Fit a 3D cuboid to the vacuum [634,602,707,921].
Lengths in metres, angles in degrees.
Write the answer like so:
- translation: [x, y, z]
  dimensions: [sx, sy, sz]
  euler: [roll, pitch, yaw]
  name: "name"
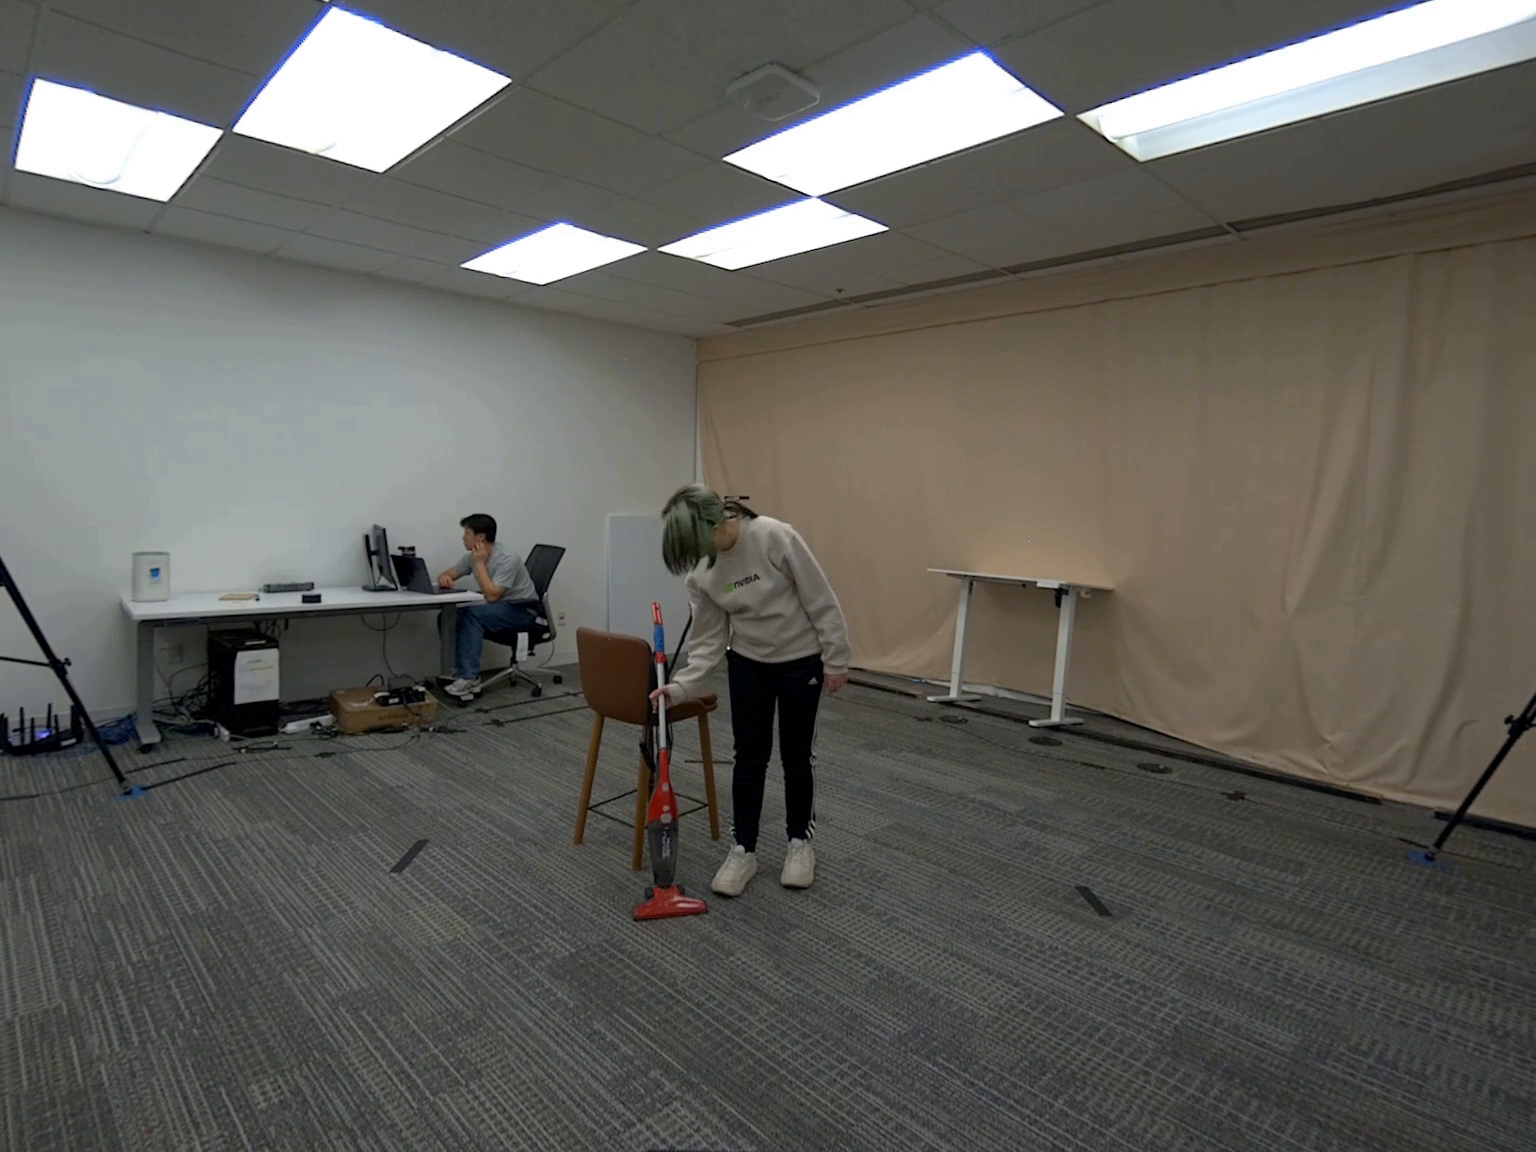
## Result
- translation: [-0.392, 0.619, 2.991]
  dimensions: [0.249, 1.063, 0.144]
  euler: [-1, -17, -18]
  name: "vacuum"
